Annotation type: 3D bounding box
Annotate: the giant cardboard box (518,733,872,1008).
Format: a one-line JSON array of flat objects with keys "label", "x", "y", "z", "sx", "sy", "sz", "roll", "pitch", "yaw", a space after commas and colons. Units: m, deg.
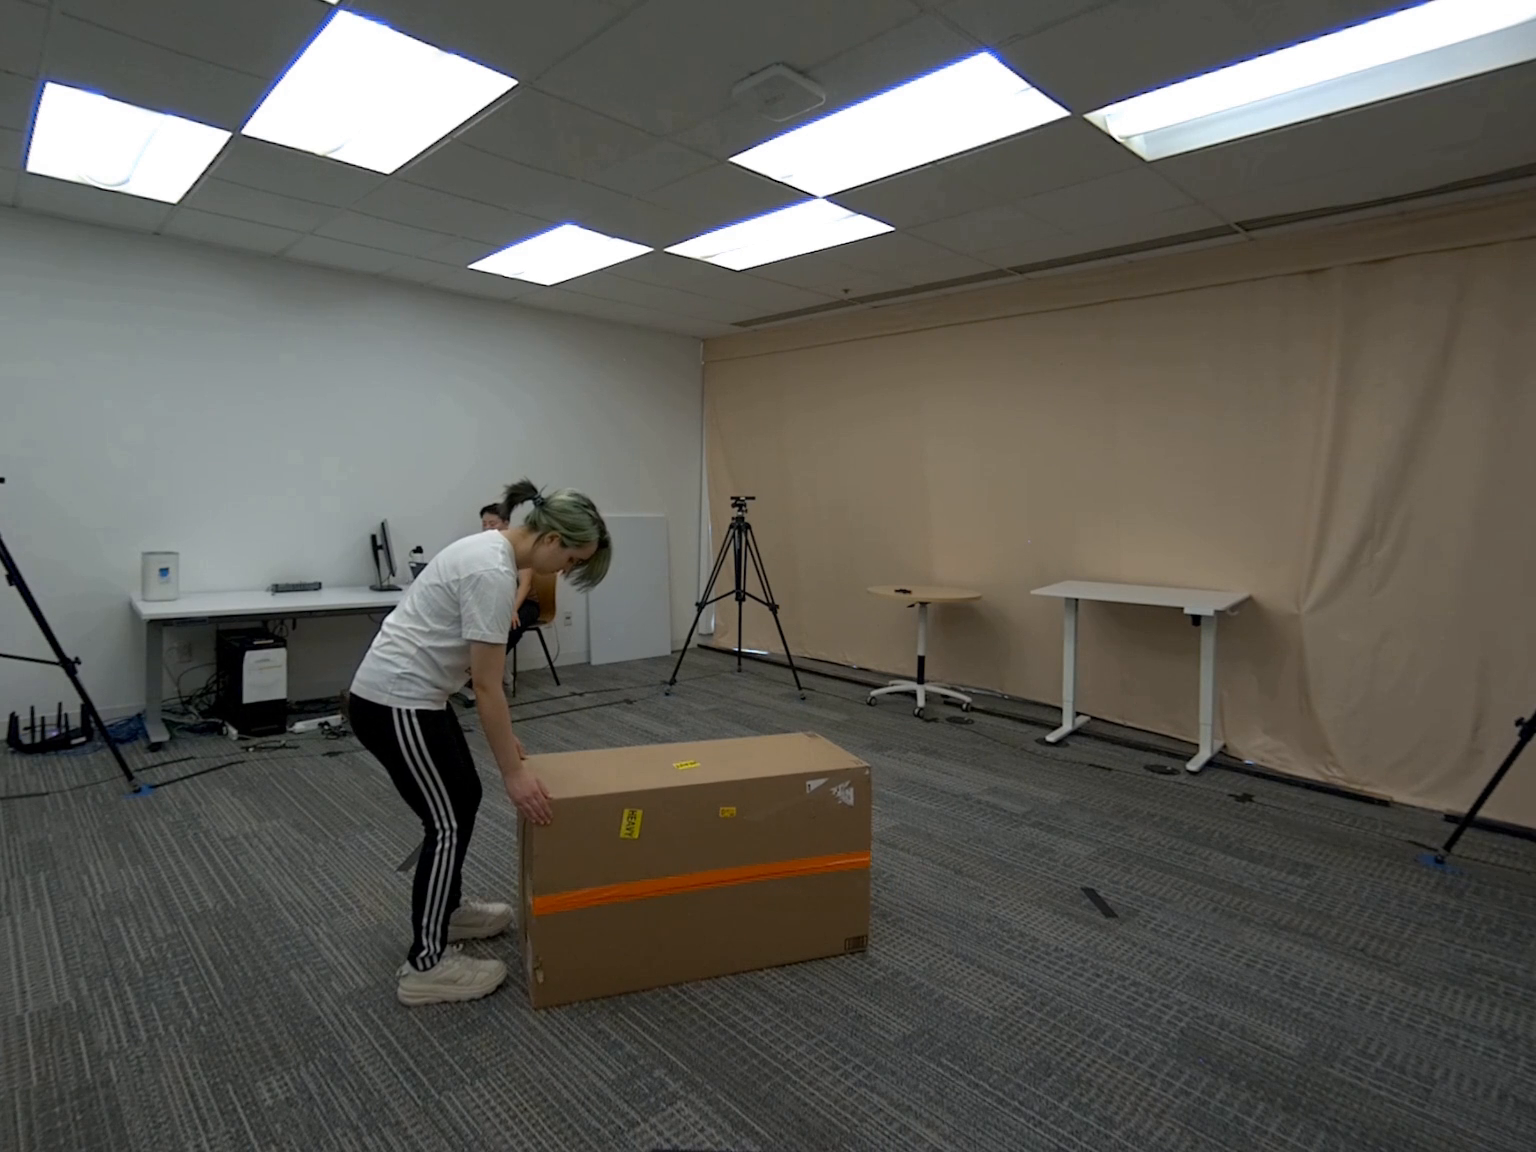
[{"label": "giant cardboard box", "x": -0.239, "y": 0.860, "z": 2.610, "sx": 1.011, "sy": 0.582, "sz": 0.455, "roll": -1, "pitch": 5, "yaw": -21}]
